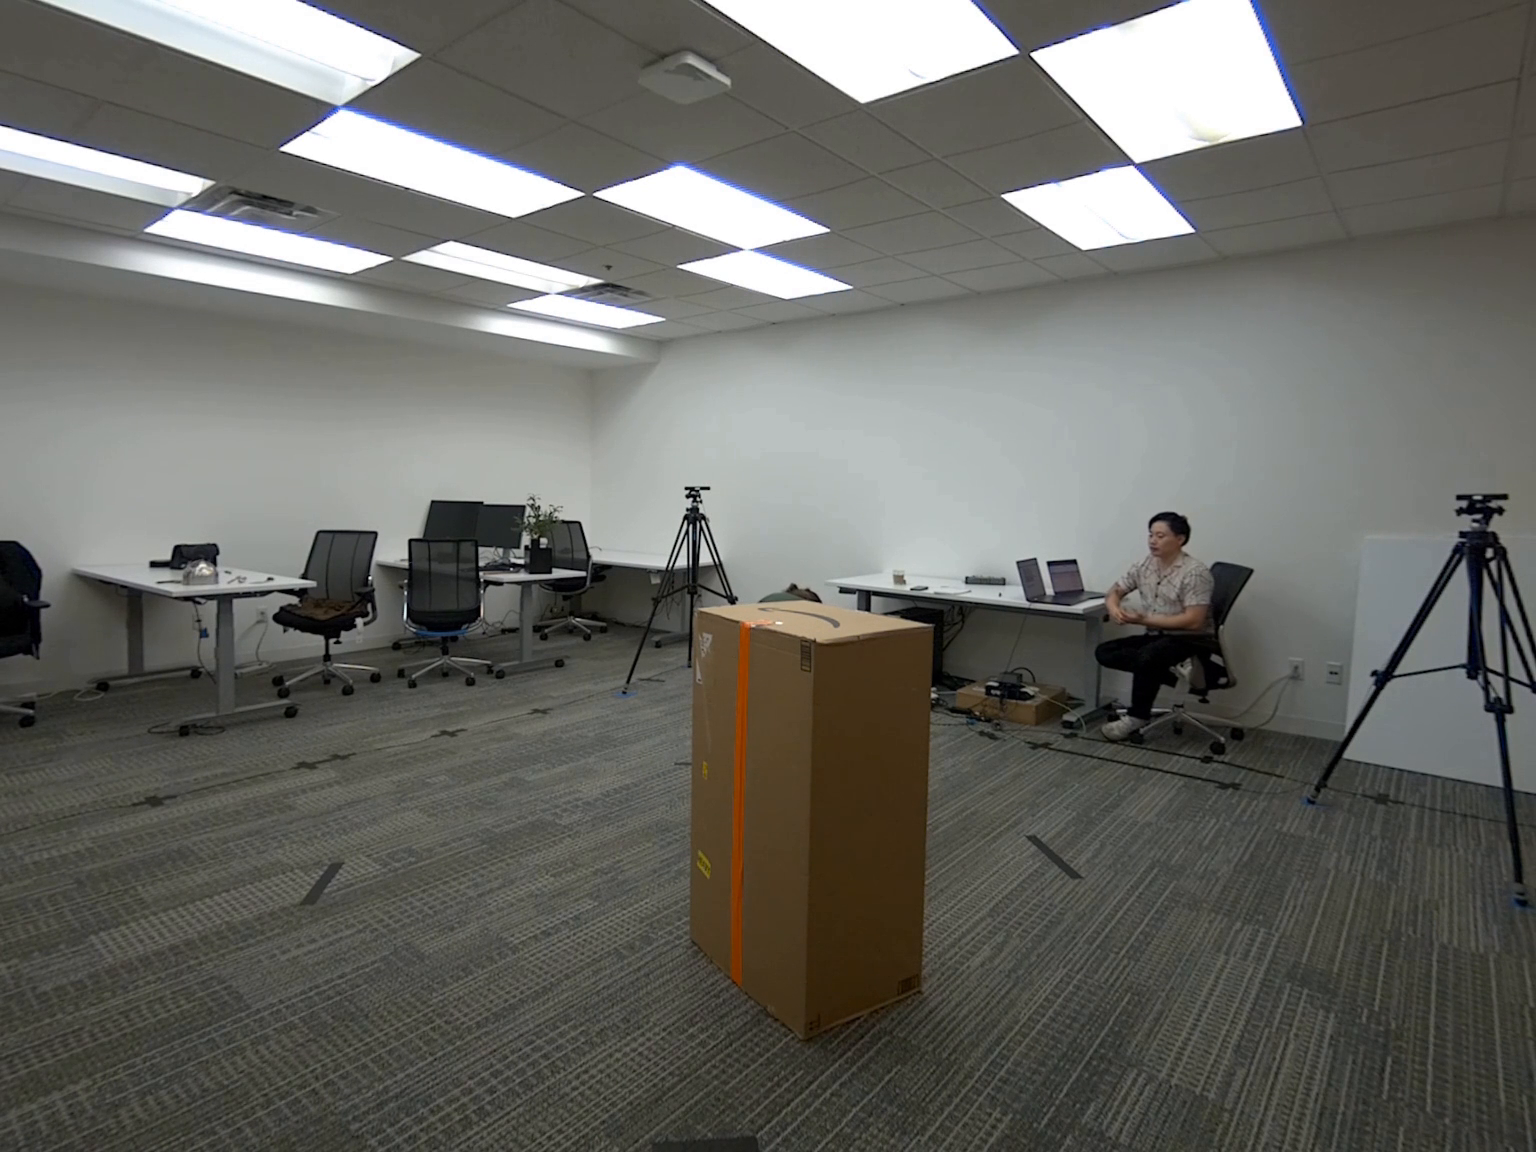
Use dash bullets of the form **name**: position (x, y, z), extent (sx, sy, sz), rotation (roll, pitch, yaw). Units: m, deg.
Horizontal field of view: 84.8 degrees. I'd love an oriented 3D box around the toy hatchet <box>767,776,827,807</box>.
- **toy hatchet**: position (0.131, 0.979, 3.836), extent (0.135, 0.029, 0.262), rotation (4, 8, 41)
